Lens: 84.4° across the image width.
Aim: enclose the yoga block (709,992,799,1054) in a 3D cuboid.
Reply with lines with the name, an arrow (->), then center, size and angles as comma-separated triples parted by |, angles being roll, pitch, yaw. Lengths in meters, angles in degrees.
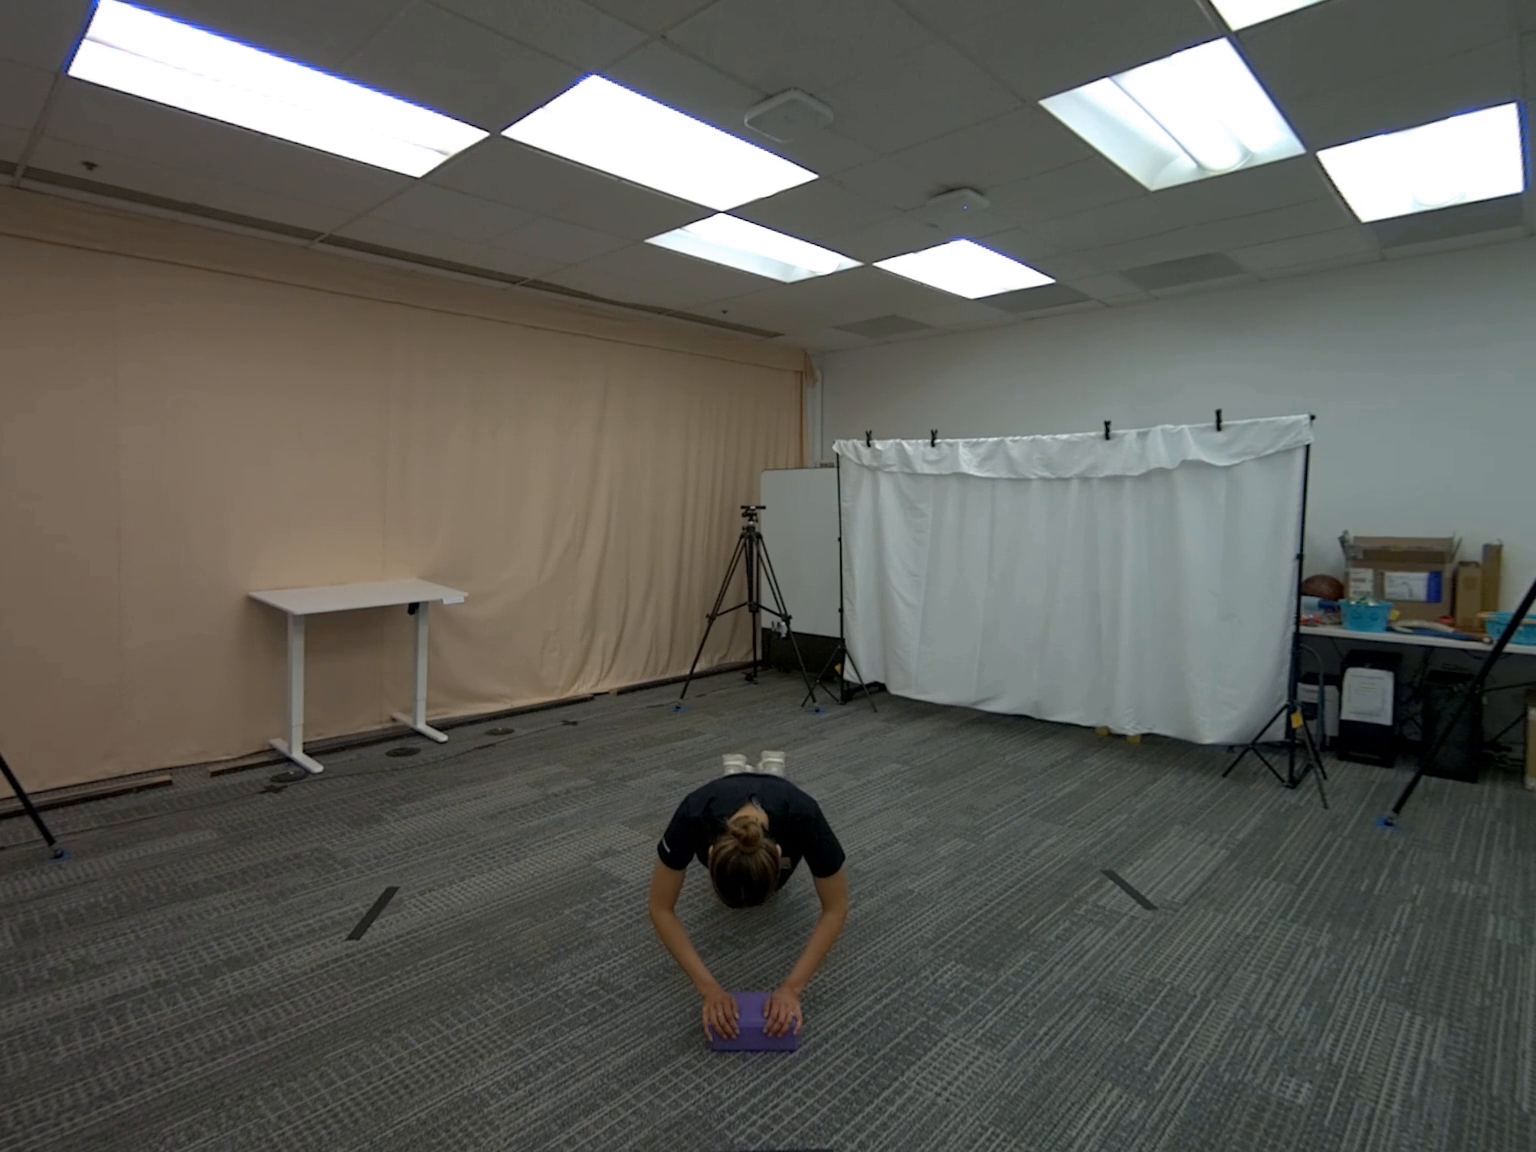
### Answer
yoga block -> -0.042, 1.159, 2.220 | 0.229, 0.076, 0.150 | 0, 8, -1
